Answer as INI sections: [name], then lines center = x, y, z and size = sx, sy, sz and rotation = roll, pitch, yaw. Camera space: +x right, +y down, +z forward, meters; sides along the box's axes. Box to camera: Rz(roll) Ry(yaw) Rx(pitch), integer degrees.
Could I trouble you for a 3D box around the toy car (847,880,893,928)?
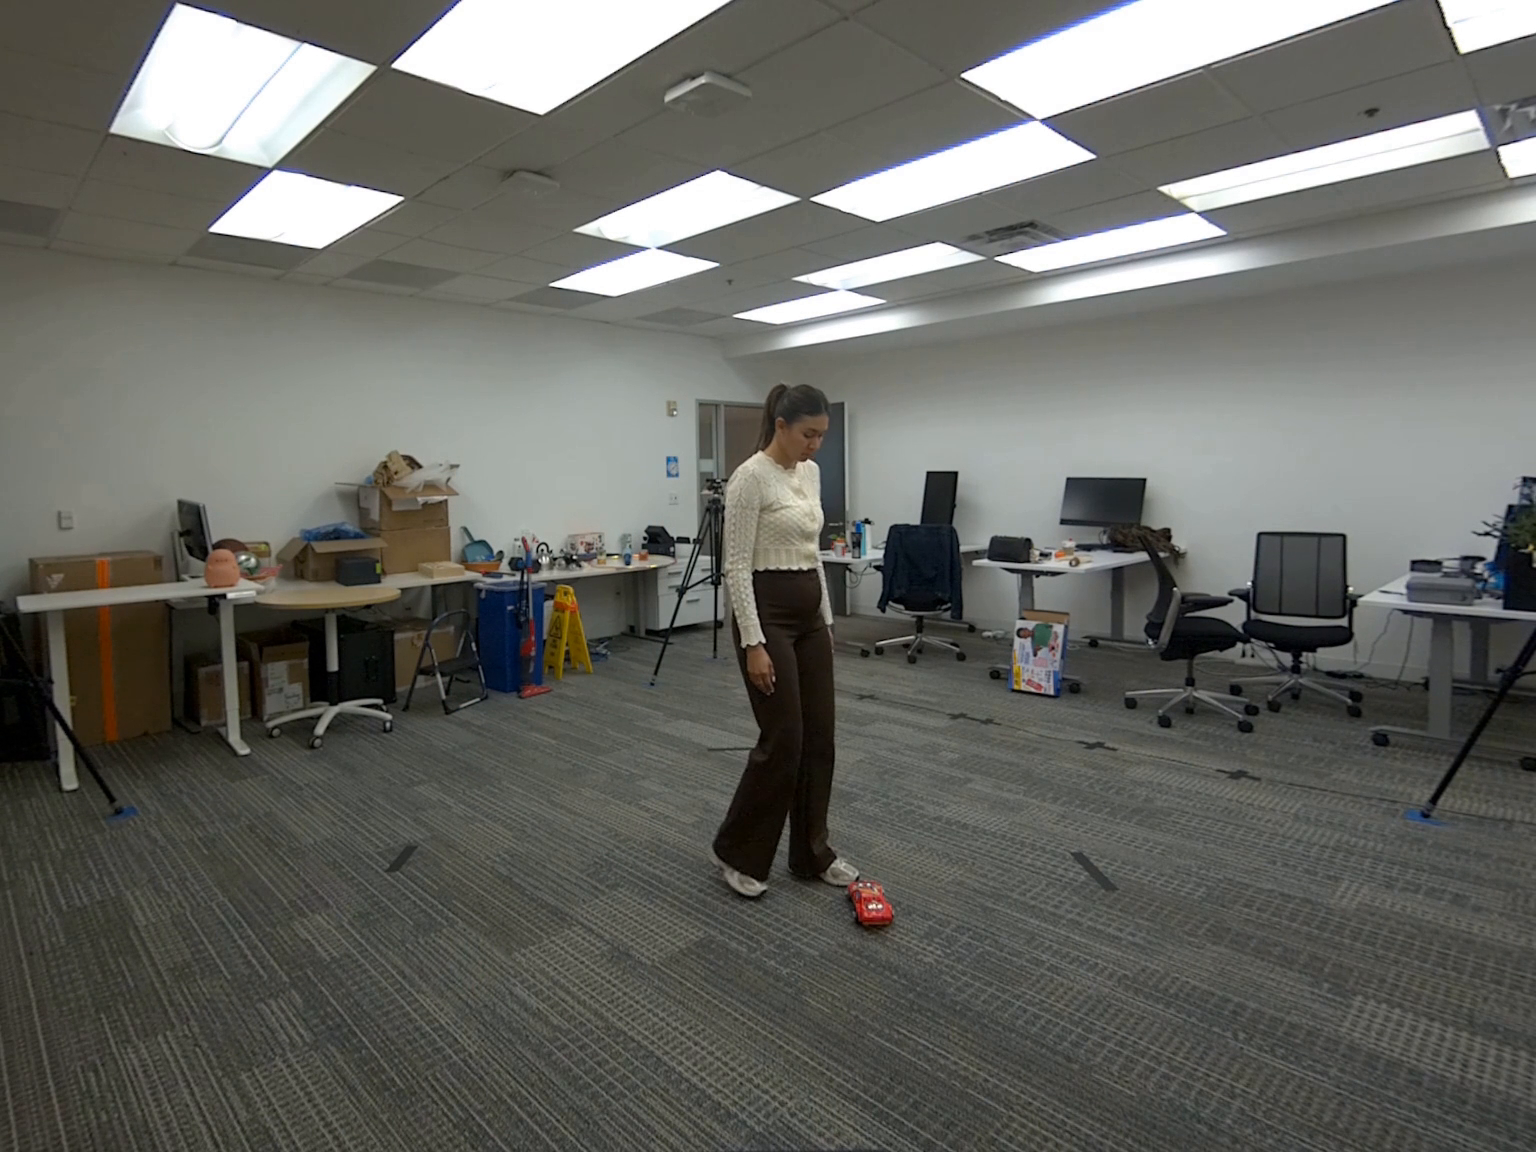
[toy car]
center = 0.330, 1.049, 2.724
size = 0.130, 0.084, 0.253
rotation = 0, -5, -4
